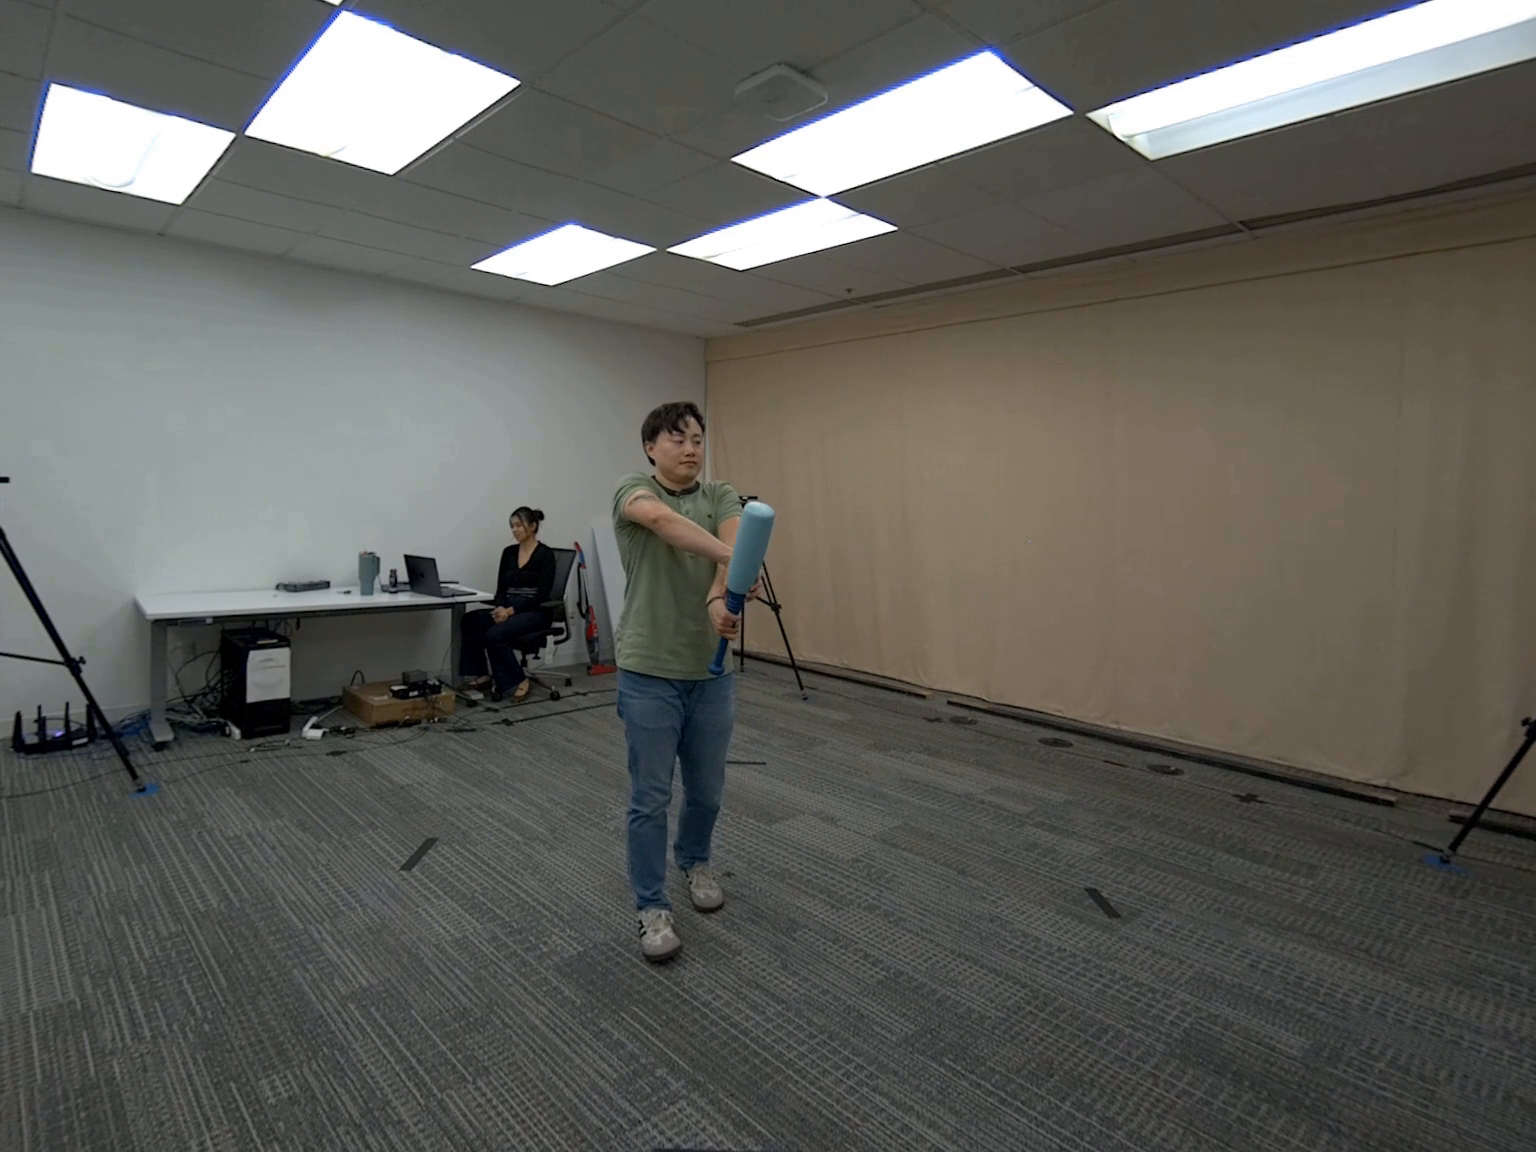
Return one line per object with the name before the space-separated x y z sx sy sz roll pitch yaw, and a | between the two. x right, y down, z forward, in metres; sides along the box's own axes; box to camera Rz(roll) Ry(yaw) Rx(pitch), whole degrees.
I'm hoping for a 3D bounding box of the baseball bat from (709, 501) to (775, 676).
baseball bat | -0.089 0.055 2.296 0.088 0.536 0.091 12 27 -8
